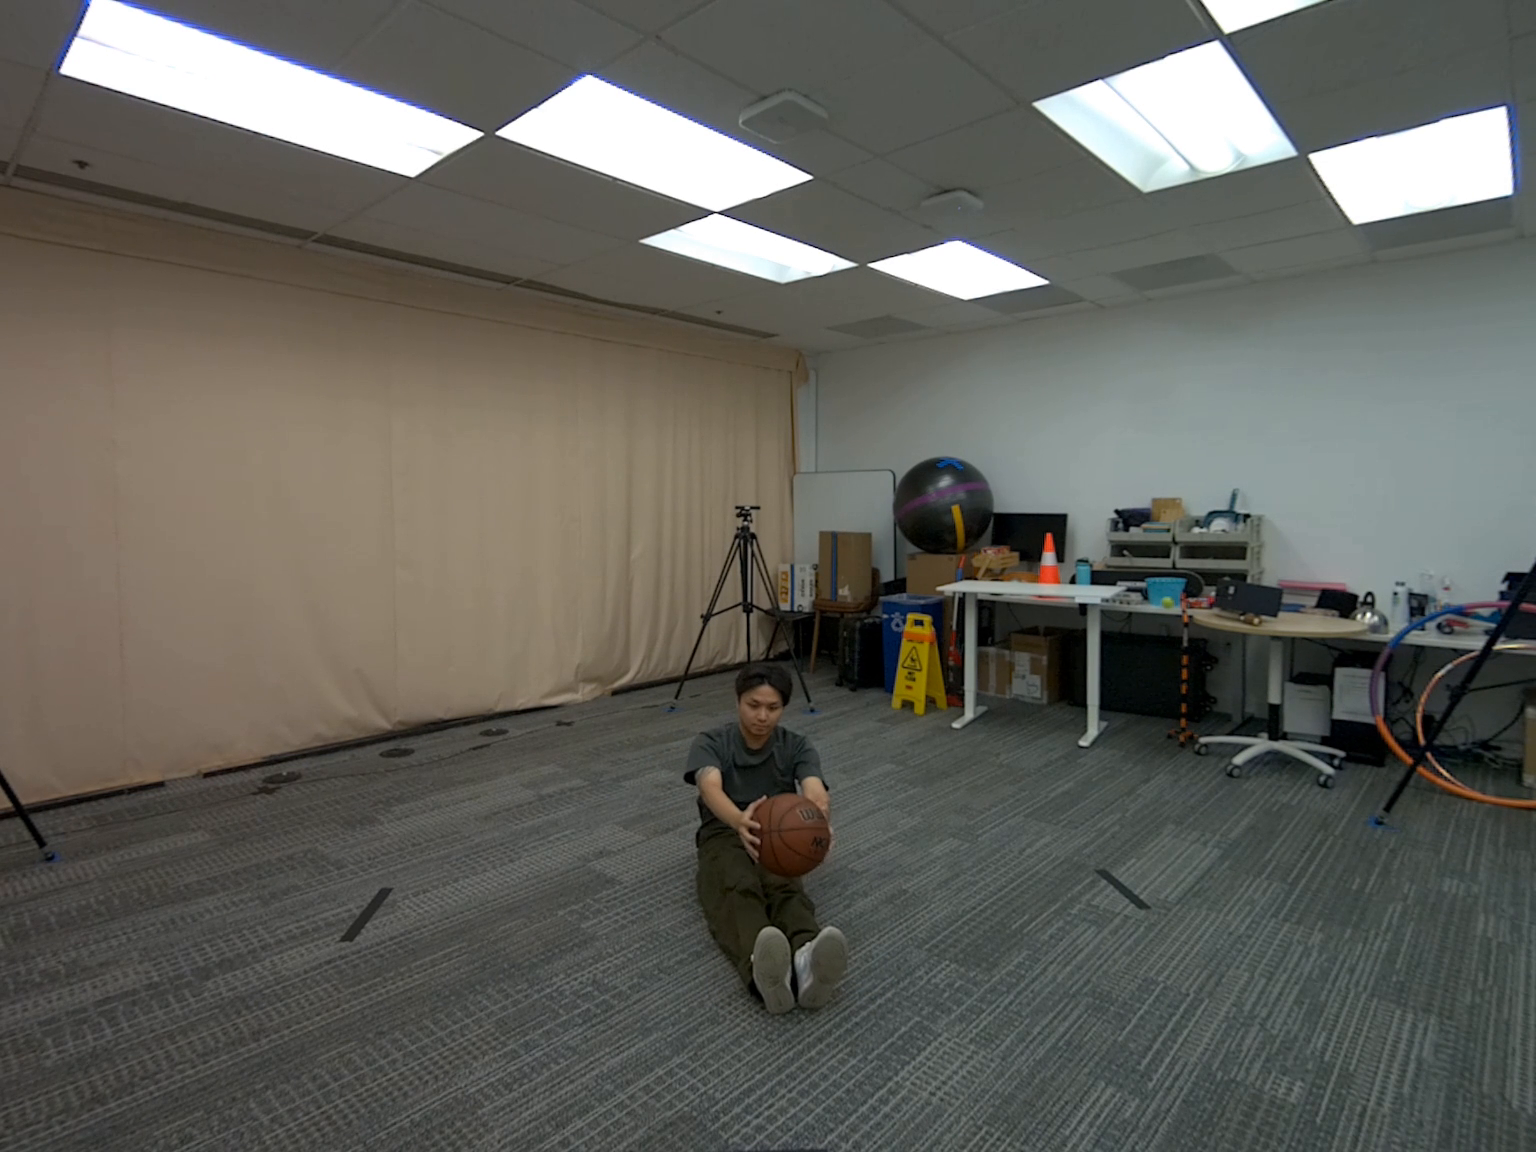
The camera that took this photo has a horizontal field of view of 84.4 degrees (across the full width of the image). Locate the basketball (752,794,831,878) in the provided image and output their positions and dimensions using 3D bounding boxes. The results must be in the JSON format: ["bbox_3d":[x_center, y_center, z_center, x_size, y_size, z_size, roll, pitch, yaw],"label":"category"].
[{"bbox_3d":[0.069,0.770,2.522,0.236,0.235,0.237,0,4,-2],"label":"basketball"}]
